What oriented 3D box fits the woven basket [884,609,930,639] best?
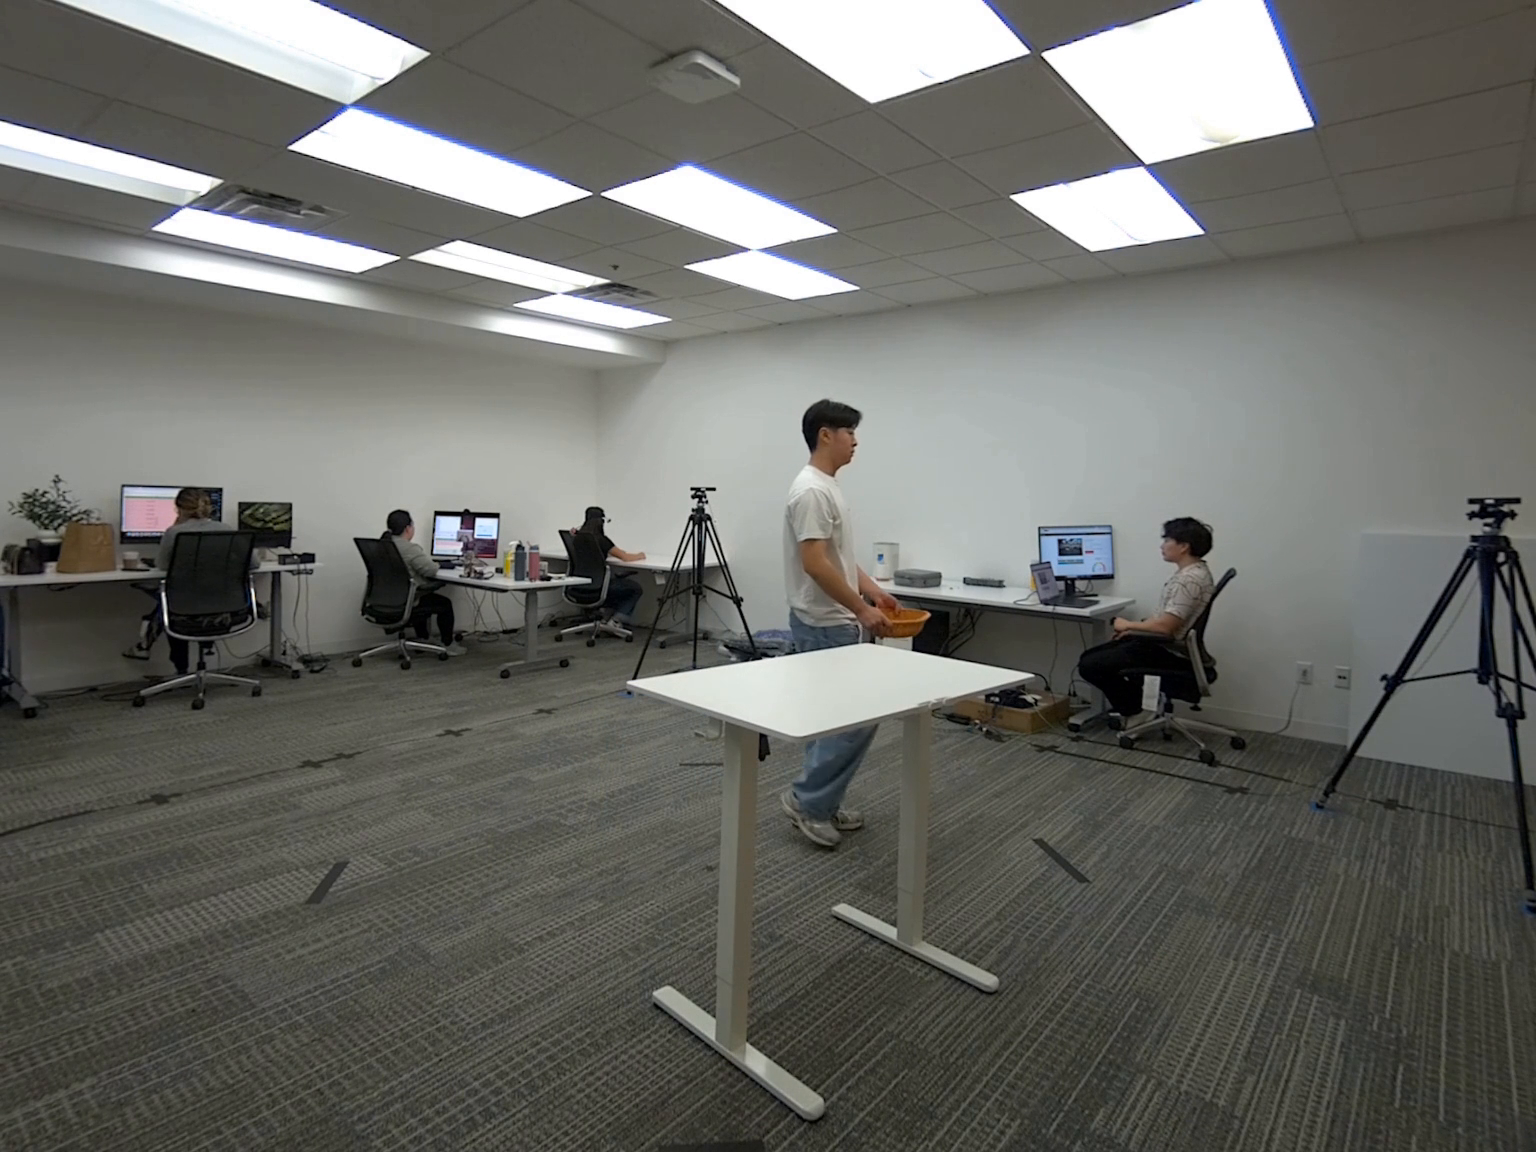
[{"bbox_3d":[0.477,0.186,3.371,0.261,0.073,0.340,8,9,37],"label":"woven basket"}]
